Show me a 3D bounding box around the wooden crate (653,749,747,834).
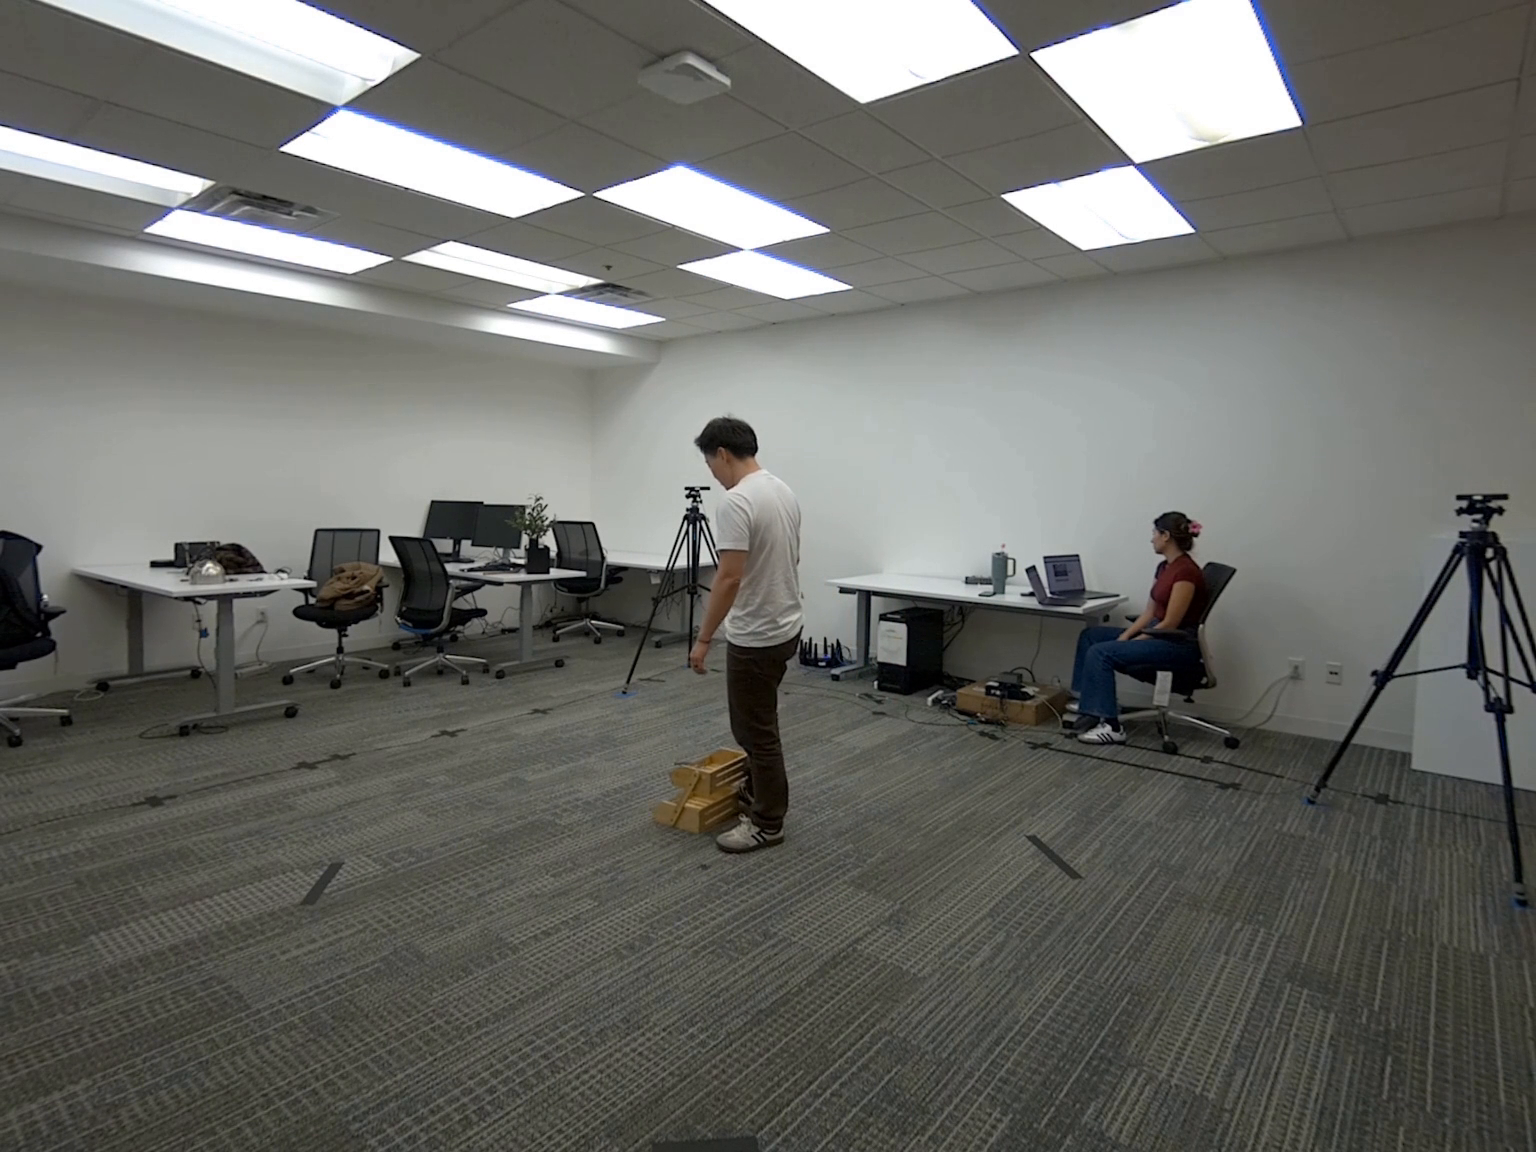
[{"bbox_3d":[-0.301,0.883,3.591,0.311,0.272,0.316,4,5,32],"label":"wooden crate"}]
